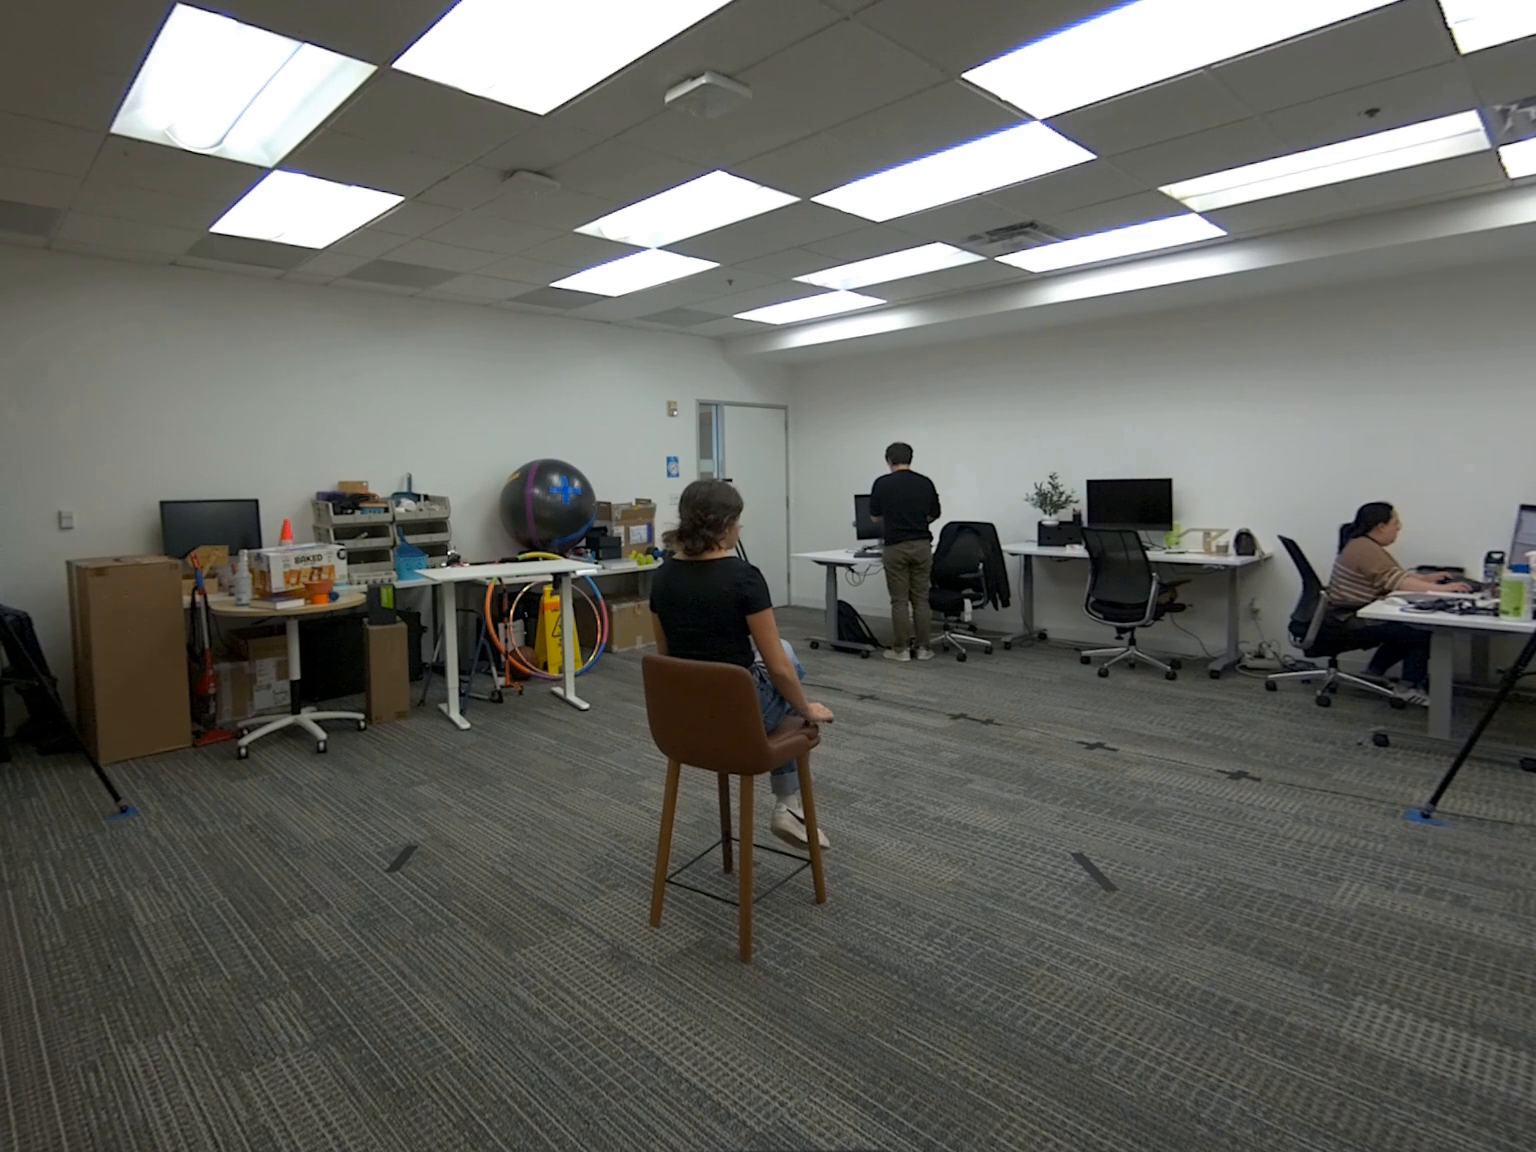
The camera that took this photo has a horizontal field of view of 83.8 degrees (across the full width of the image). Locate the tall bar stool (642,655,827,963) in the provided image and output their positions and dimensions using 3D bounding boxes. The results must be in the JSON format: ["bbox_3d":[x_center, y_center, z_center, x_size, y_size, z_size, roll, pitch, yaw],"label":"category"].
[{"bbox_3d":[-0.111,0.659,2.723,0.469,0.885,0.457,1,7,35],"label":"tall bar stool"}]
